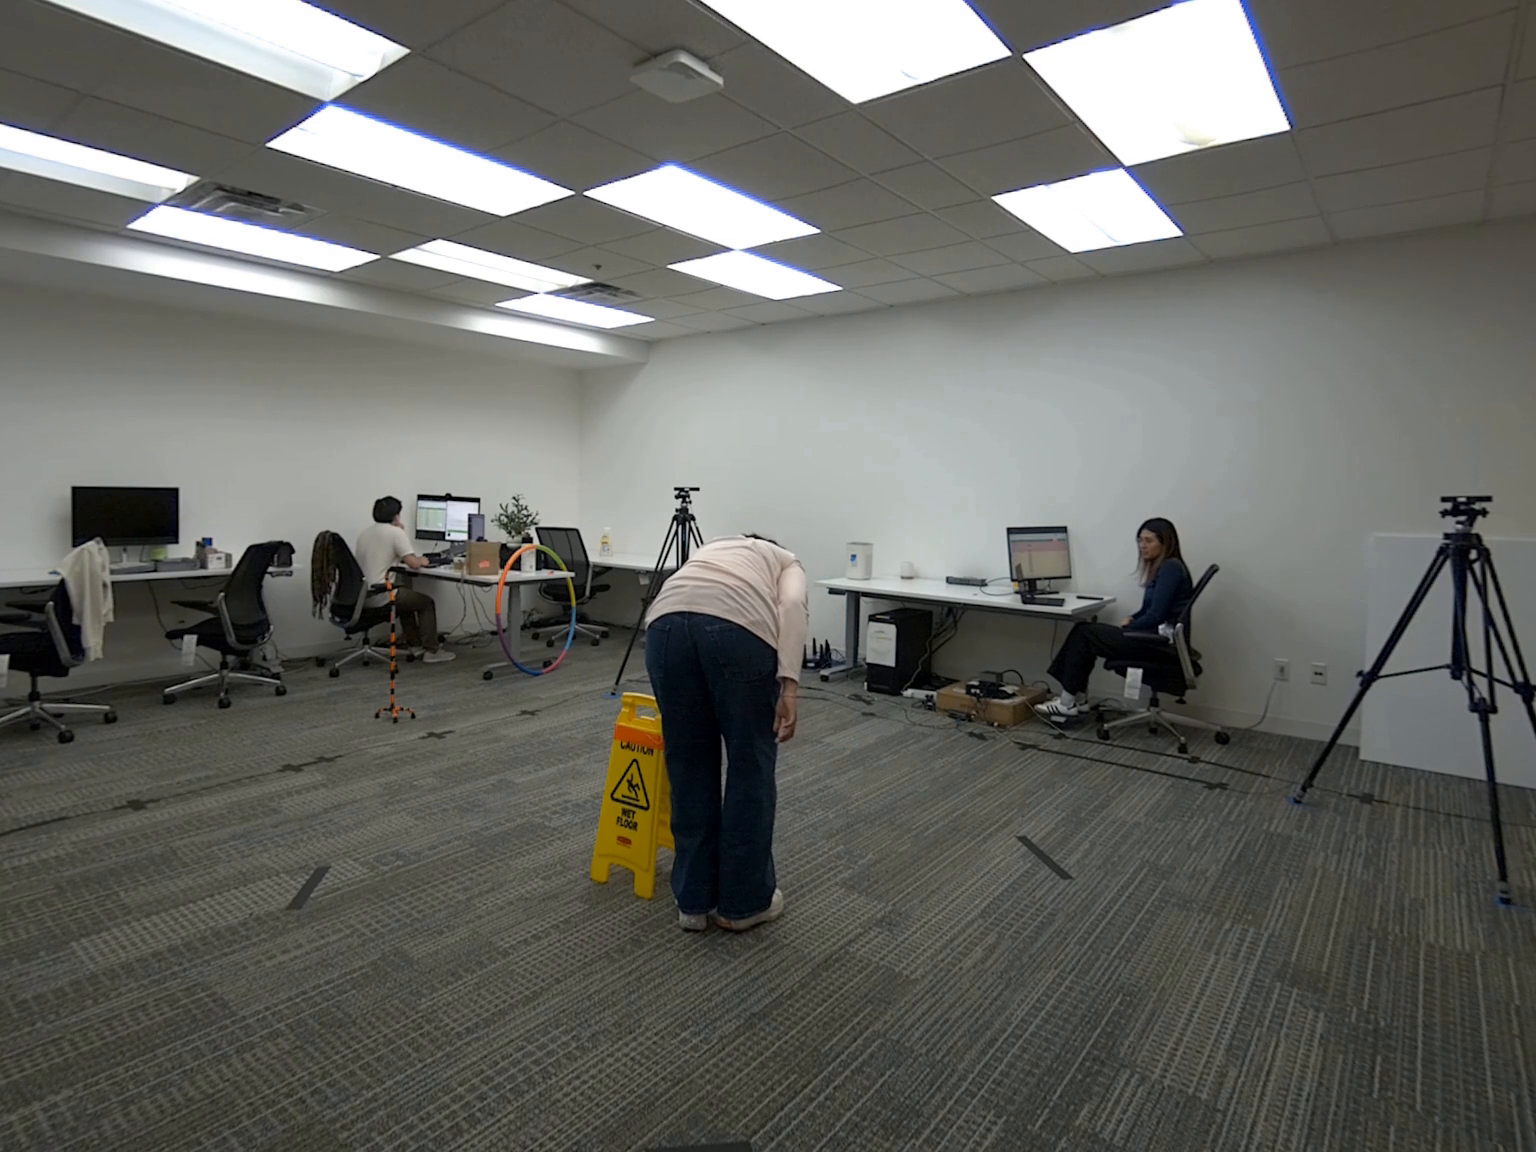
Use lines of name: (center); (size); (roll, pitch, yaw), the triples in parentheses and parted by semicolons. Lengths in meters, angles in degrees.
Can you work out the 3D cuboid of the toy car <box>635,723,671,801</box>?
toy car: (-0.387, 0.681, 3.090); (0.134, 0.253, 0.081); (-7, 7, 37)
